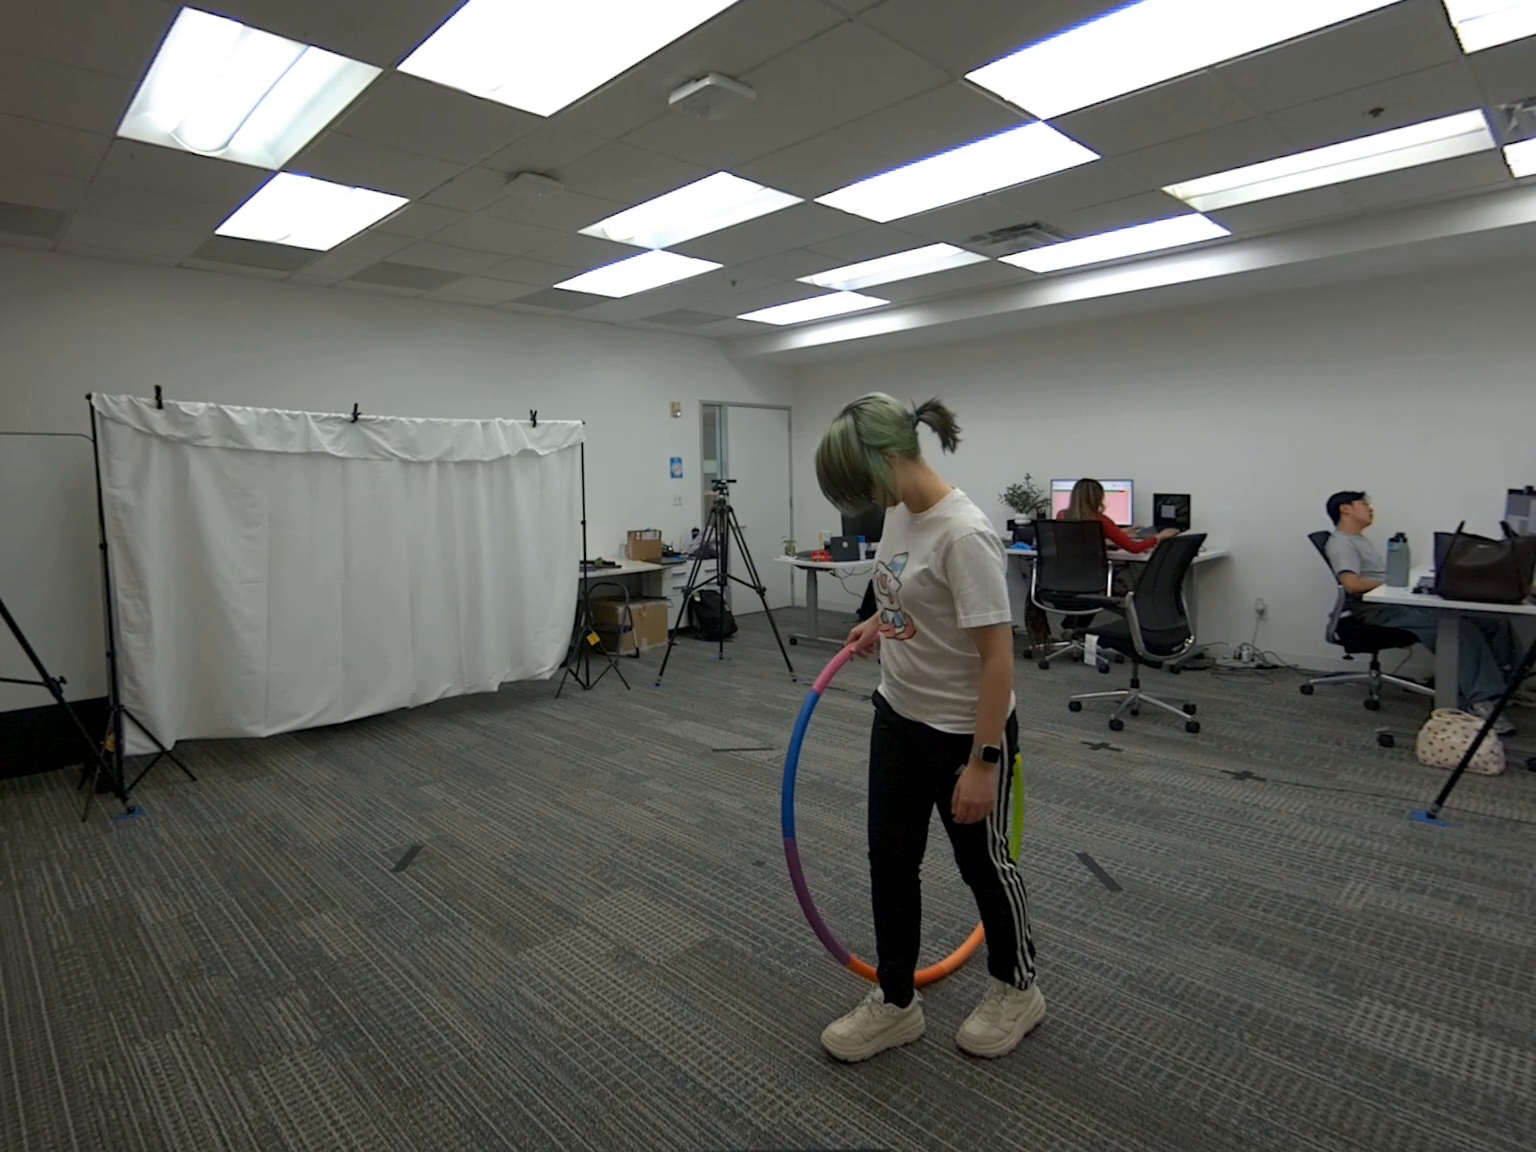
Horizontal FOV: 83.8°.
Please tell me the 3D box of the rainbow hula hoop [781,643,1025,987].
[{"bbox_3d":[0.422,0.628,2.438,0.953,0.985,0.036,-5,-7,-37],"label":"rainbow hula hoop"}]
